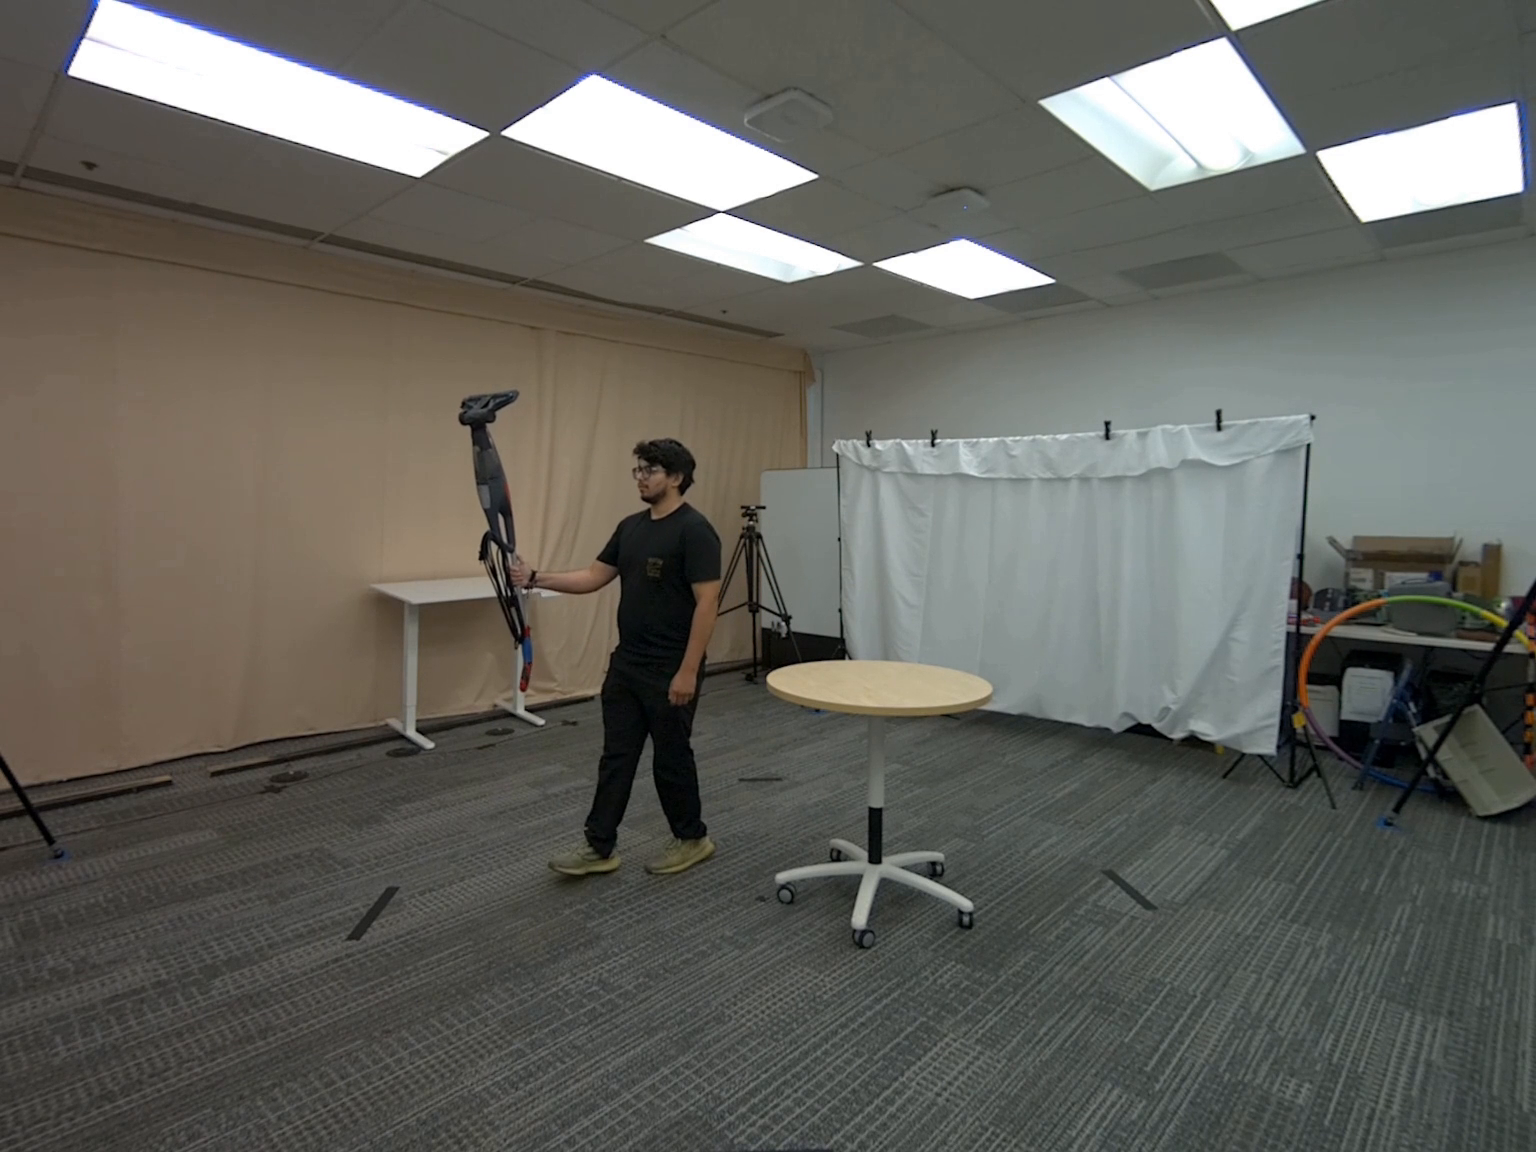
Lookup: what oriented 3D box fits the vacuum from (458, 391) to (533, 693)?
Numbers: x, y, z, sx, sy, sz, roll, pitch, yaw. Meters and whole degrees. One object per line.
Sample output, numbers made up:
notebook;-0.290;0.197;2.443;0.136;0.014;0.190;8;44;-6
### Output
vacuum;-0.980;-0.099;3.051;0.259;1.042;0.141;1;10;26
